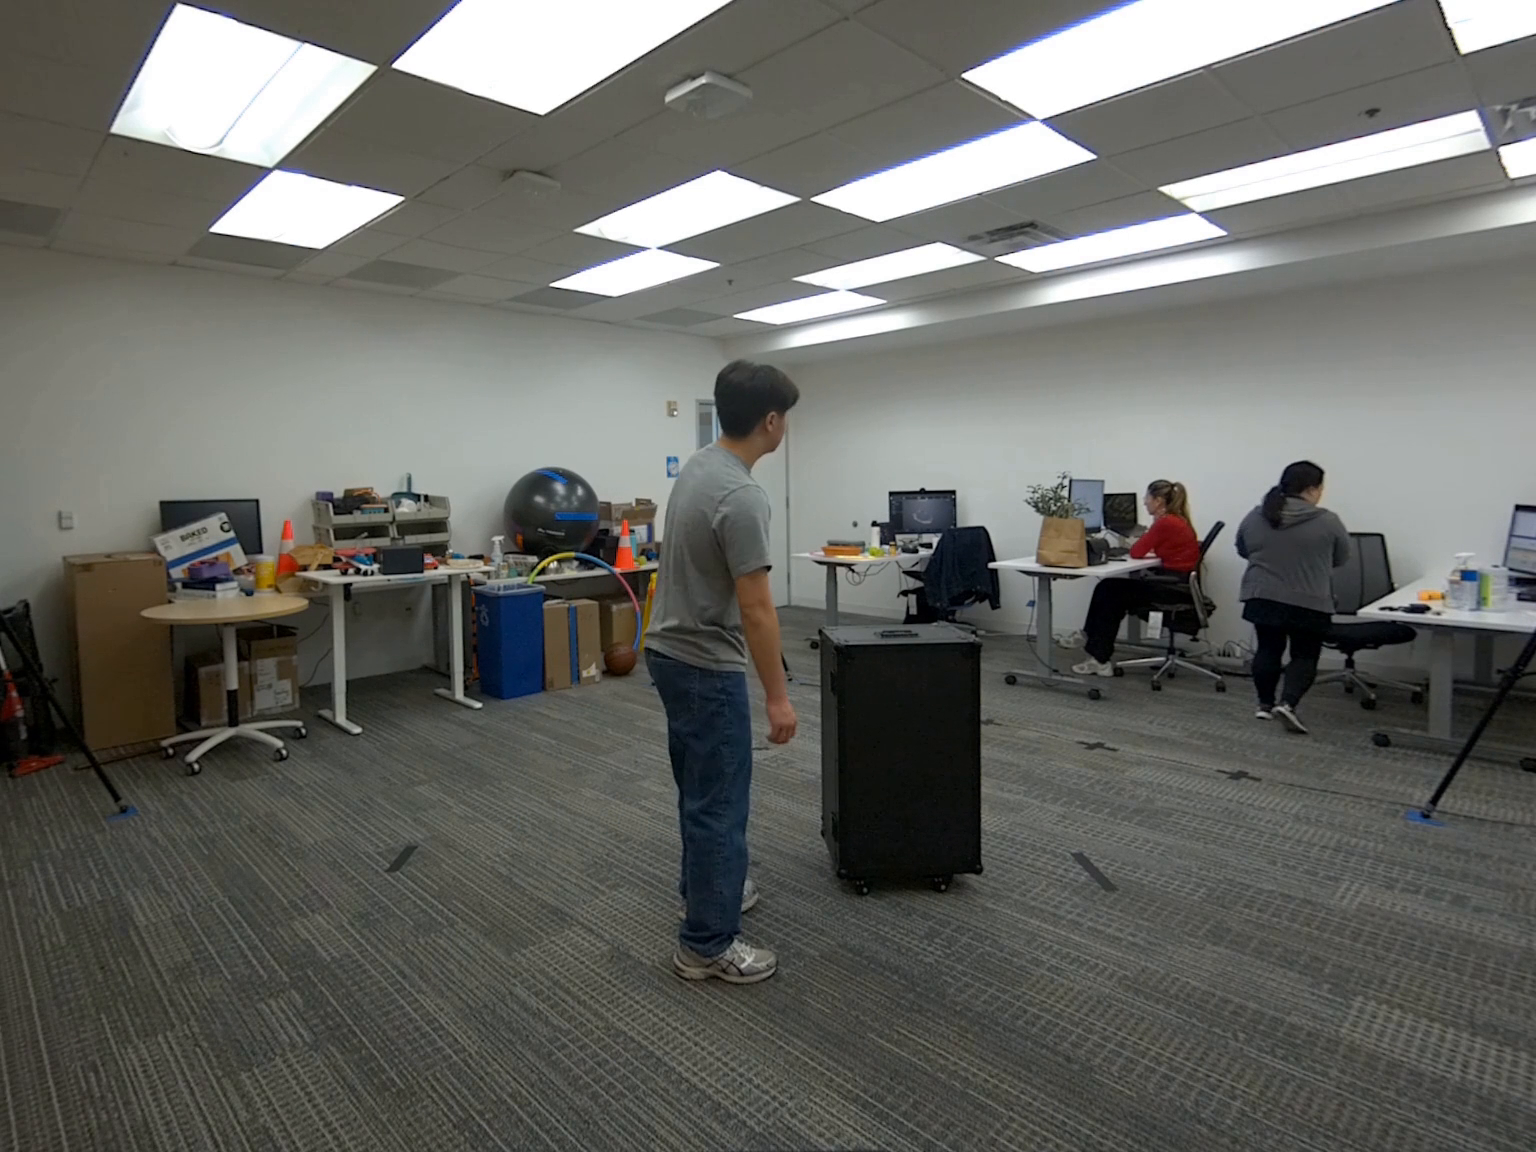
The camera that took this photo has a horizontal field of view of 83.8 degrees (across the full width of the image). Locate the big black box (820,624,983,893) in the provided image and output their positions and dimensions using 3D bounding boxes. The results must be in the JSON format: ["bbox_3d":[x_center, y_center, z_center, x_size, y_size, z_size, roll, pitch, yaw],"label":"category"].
[{"bbox_3d":[0.448,0.625,3.000,0.520,0.859,0.398,-1,3,-4],"label":"big black box"}]
